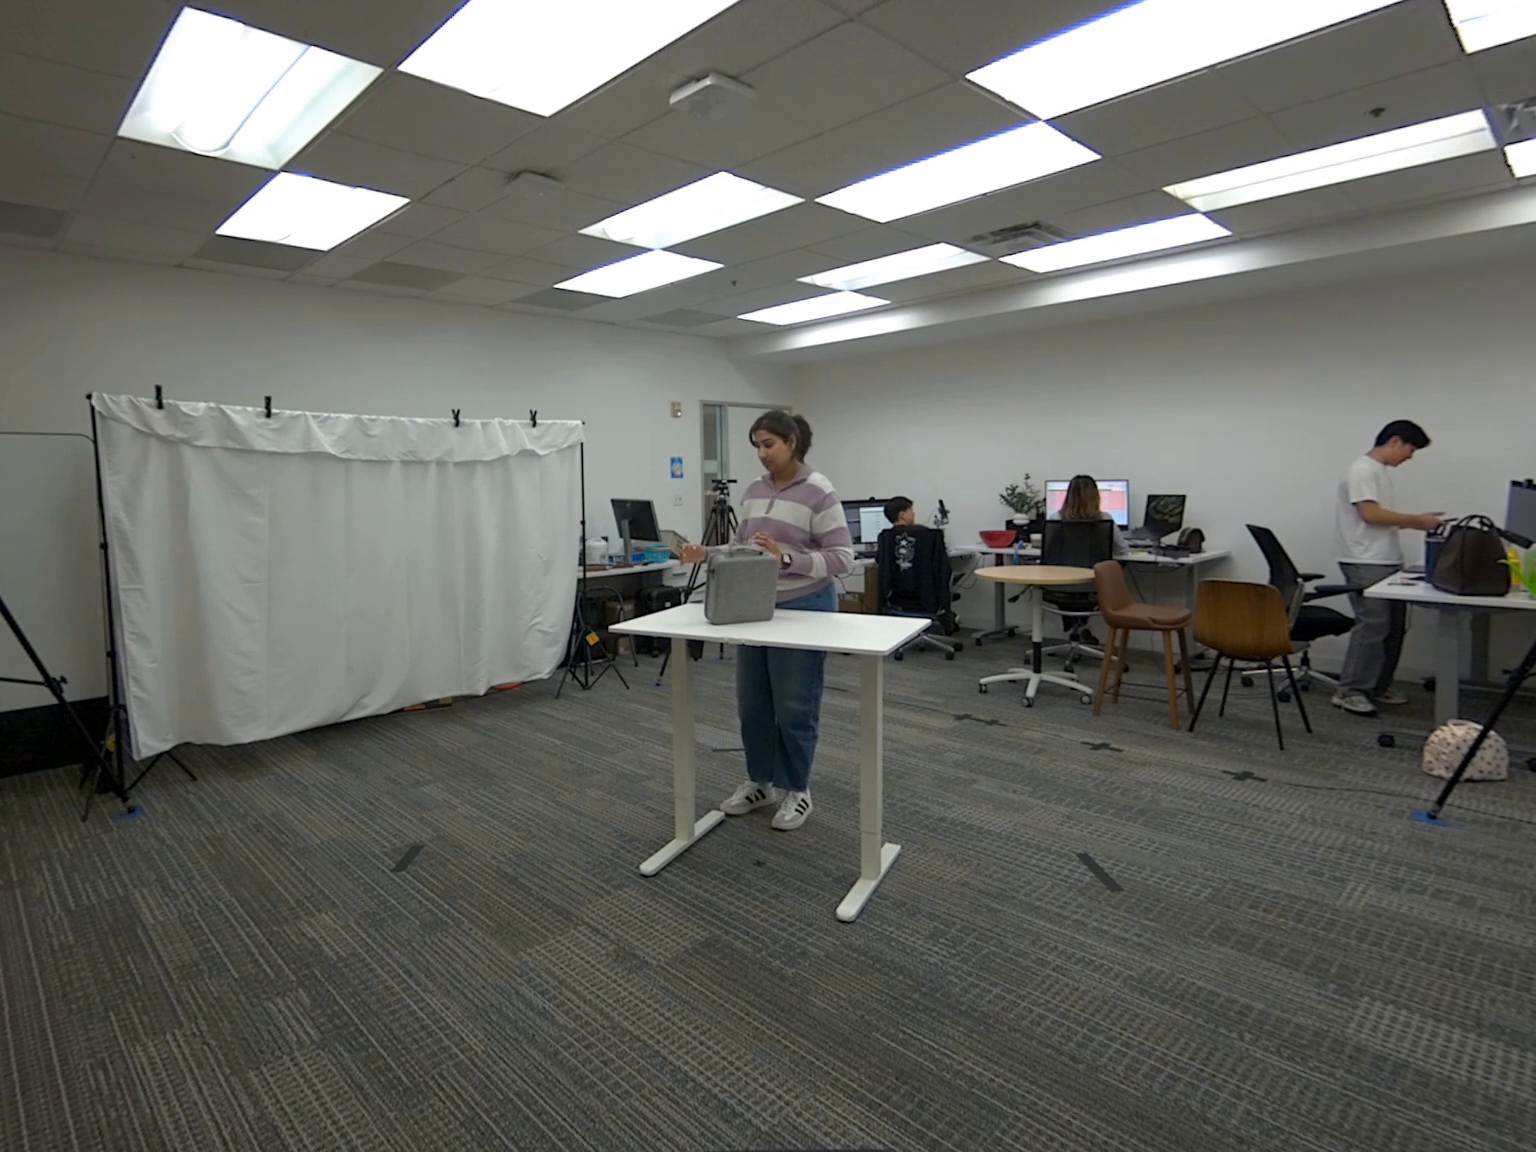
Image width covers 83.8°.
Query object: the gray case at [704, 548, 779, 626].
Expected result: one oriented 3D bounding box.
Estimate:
[{"bbox_3d":[-0.096,0.039,3.073,0.252,0.257,0.108,-3,18,-24],"label":"gray case"}]
